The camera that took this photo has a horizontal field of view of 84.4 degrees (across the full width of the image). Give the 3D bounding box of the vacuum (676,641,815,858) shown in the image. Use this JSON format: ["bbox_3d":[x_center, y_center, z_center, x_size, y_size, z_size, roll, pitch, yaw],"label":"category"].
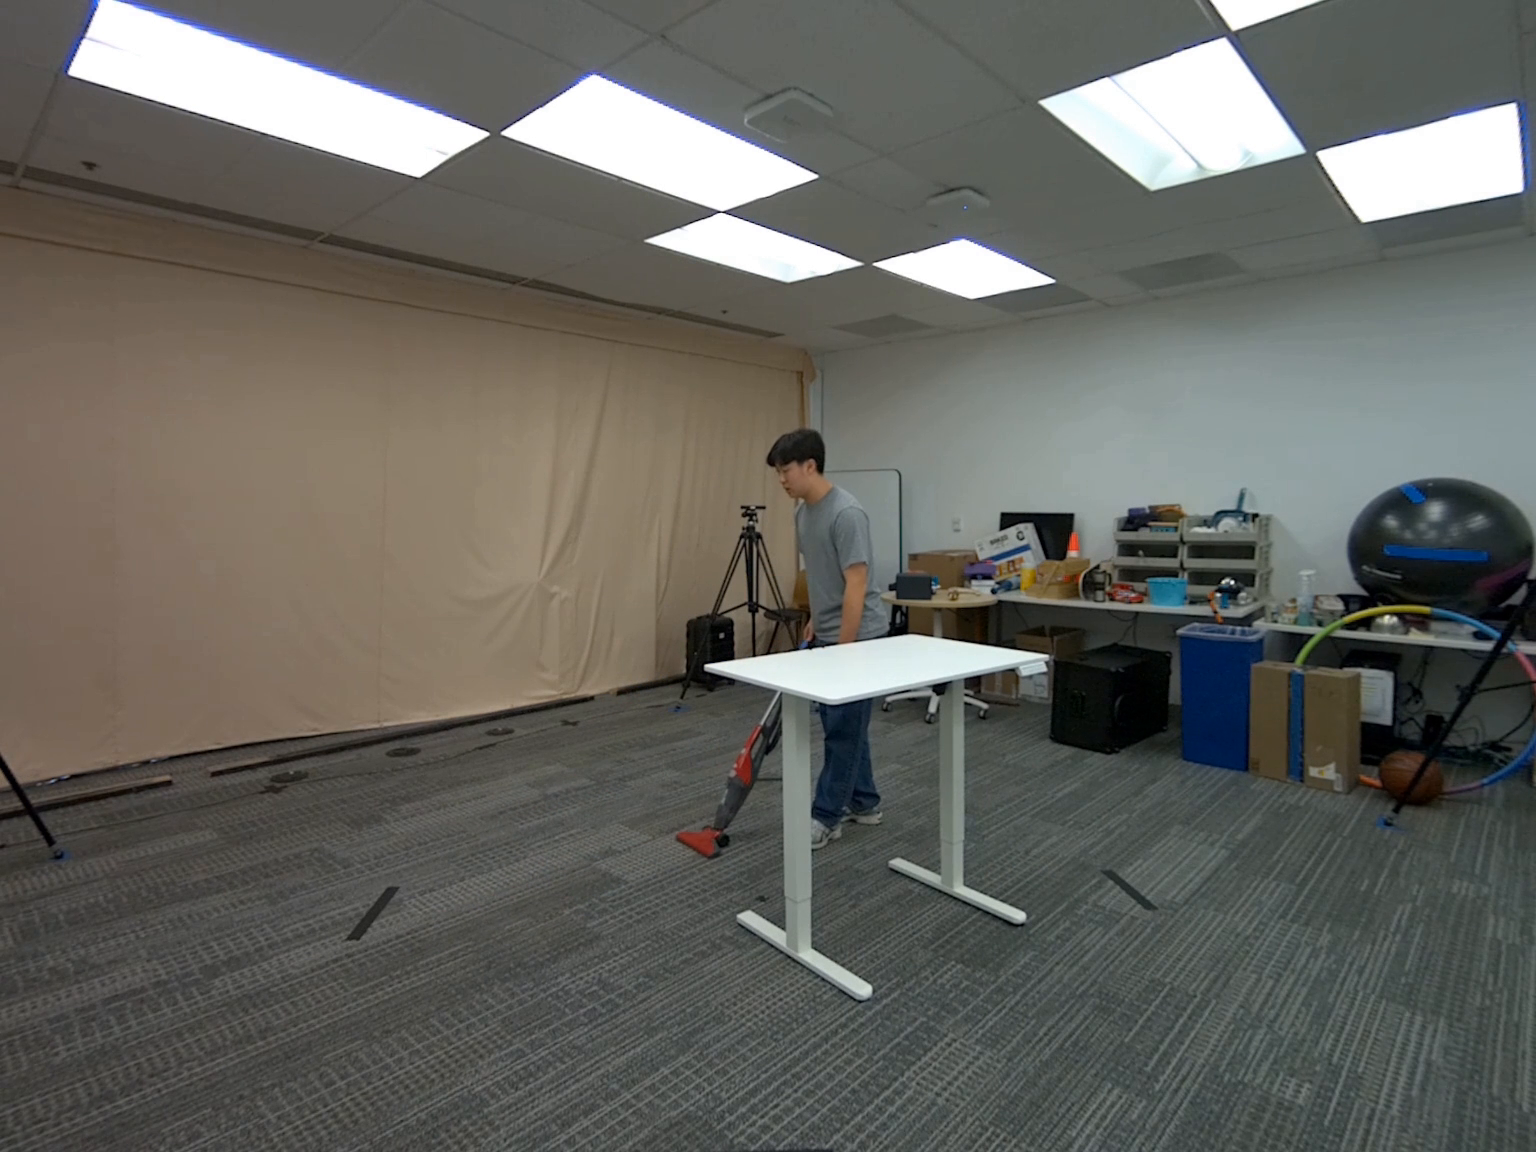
[{"bbox_3d":[-0.021,0.680,3.622,0.261,1.049,0.139,6,-29,49],"label":"vacuum"}]
